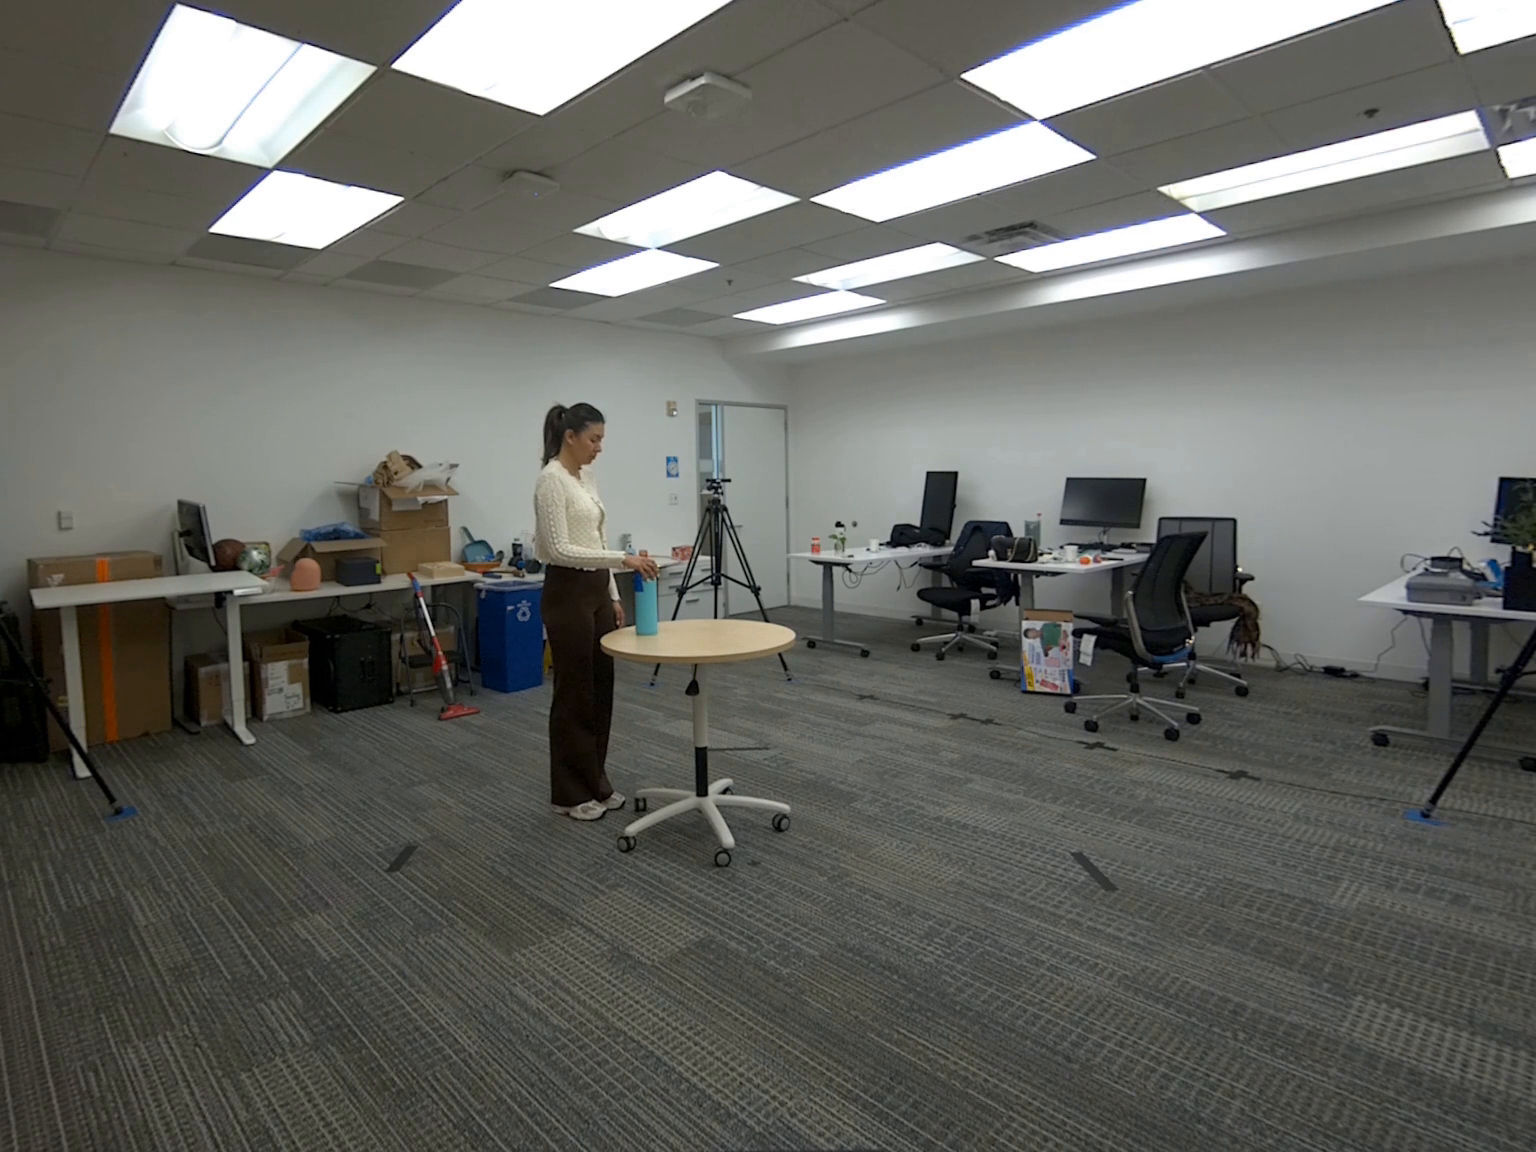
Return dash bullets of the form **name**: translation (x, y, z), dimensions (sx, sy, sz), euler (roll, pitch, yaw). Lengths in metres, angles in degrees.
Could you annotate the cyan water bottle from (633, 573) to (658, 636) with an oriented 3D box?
- **cyan water bottle**: translation (-0.501, 0.097, 3.442), dimensions (0.092, 0.283, 0.092), euler (-5, 2, -1)
